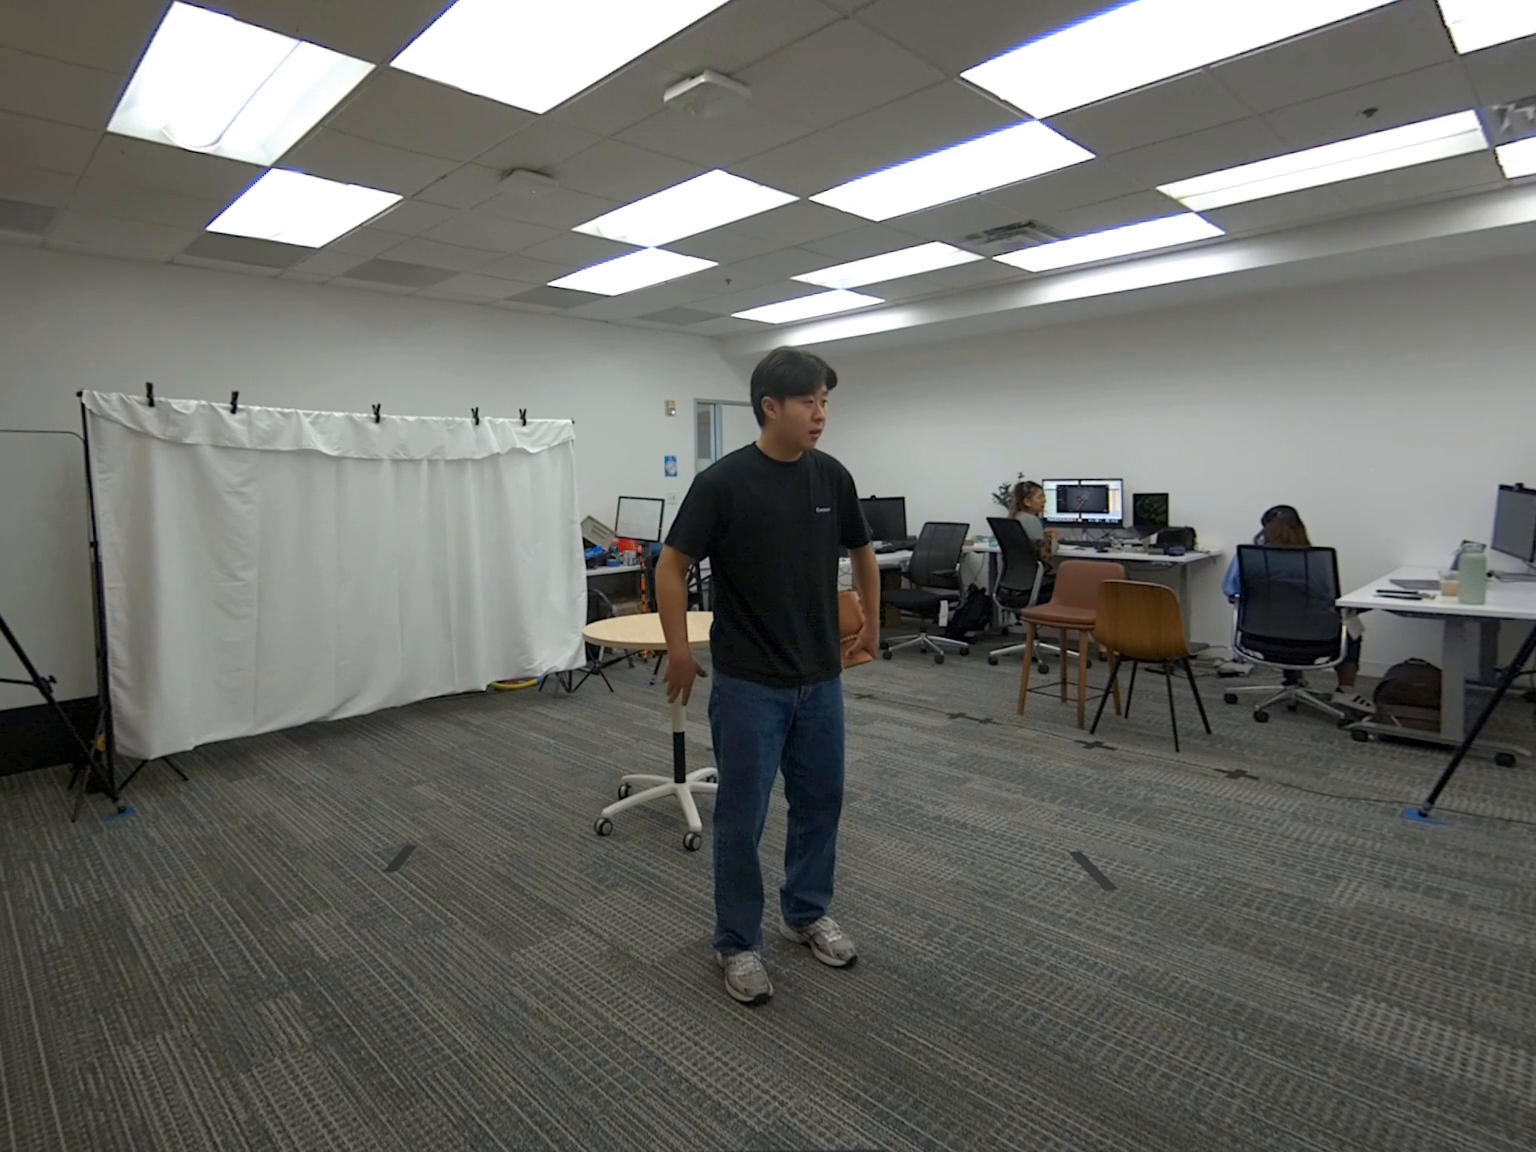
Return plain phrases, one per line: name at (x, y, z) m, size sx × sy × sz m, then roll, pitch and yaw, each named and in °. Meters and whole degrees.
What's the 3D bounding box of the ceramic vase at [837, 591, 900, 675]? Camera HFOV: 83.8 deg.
ceramic vase at (0.275, 0.174, 2.695) m, size 0.132 × 0.223 × 0.160 m, roll -9°, pitch -15°, yaw -33°
